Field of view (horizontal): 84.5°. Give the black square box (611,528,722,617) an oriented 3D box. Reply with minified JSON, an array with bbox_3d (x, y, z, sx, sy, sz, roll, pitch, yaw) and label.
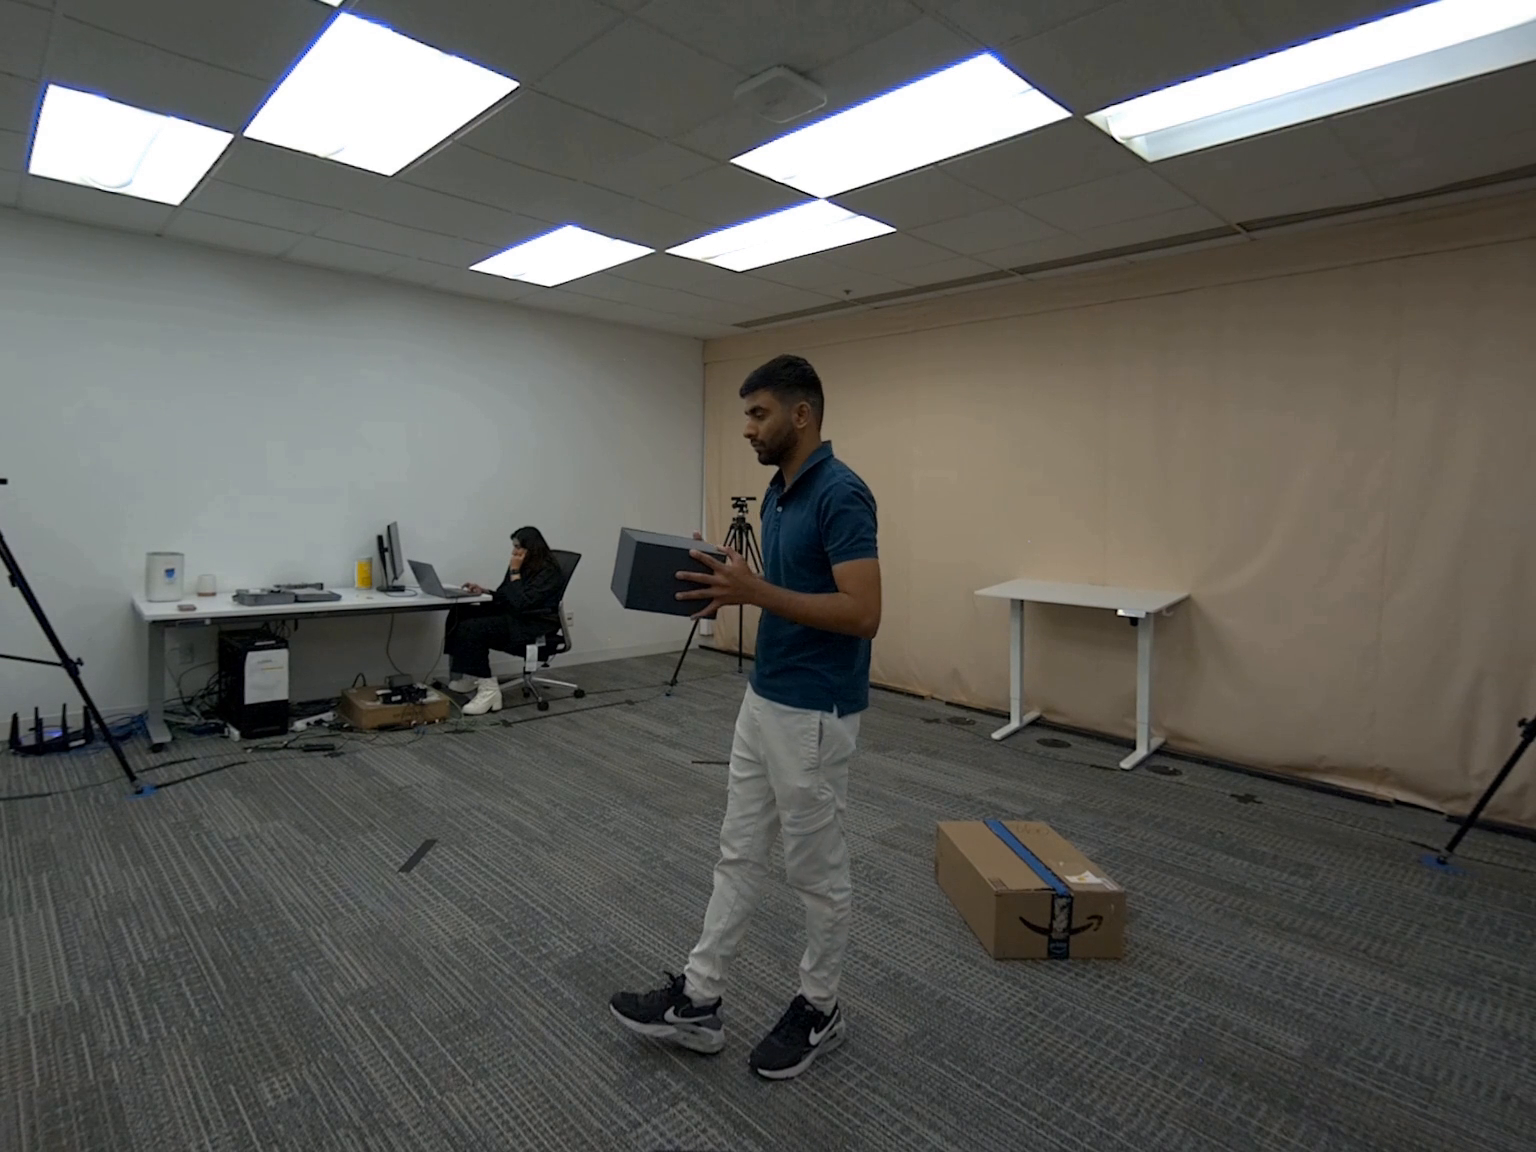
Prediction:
[{"bbox_3d":[-0.246,-0.010,1.982,0.214,0.155,0.232,8,7,-16],"label":"black square box"}]
